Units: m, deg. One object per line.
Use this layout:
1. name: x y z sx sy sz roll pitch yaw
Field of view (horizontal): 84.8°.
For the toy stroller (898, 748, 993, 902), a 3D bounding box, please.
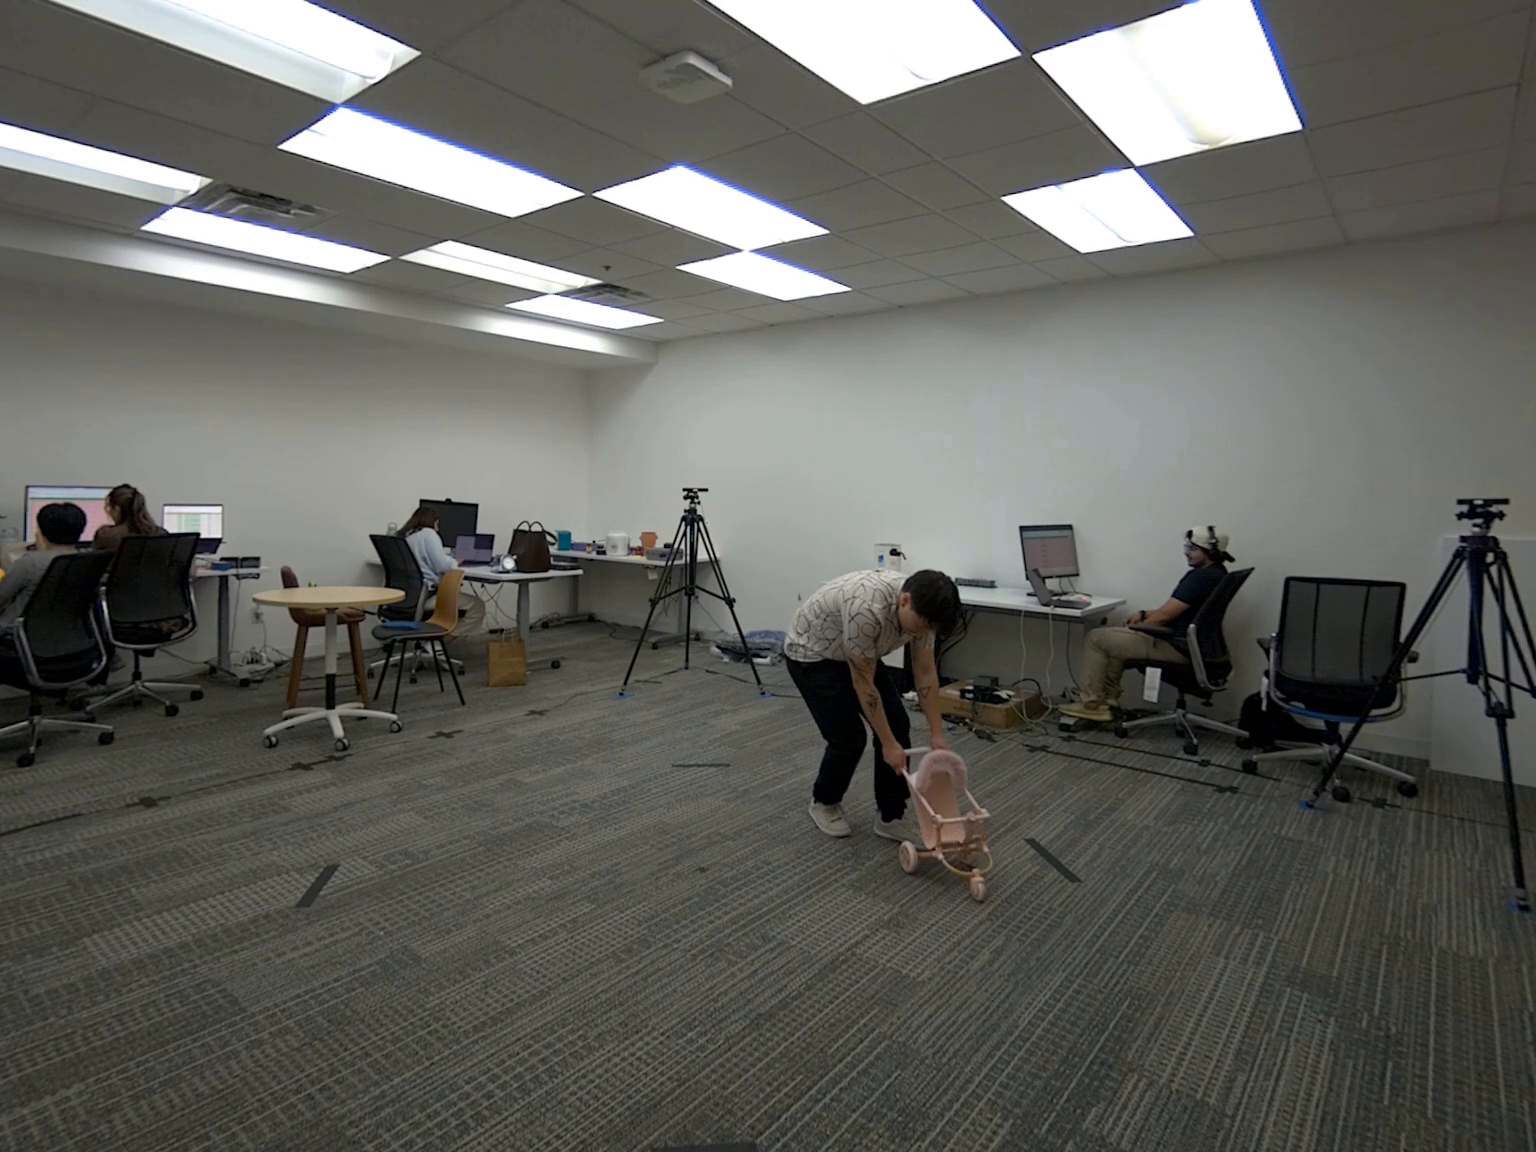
1. toy stroller: 0.646 0.873 3.110 0.277 0.544 0.340 -1 -17 -15
